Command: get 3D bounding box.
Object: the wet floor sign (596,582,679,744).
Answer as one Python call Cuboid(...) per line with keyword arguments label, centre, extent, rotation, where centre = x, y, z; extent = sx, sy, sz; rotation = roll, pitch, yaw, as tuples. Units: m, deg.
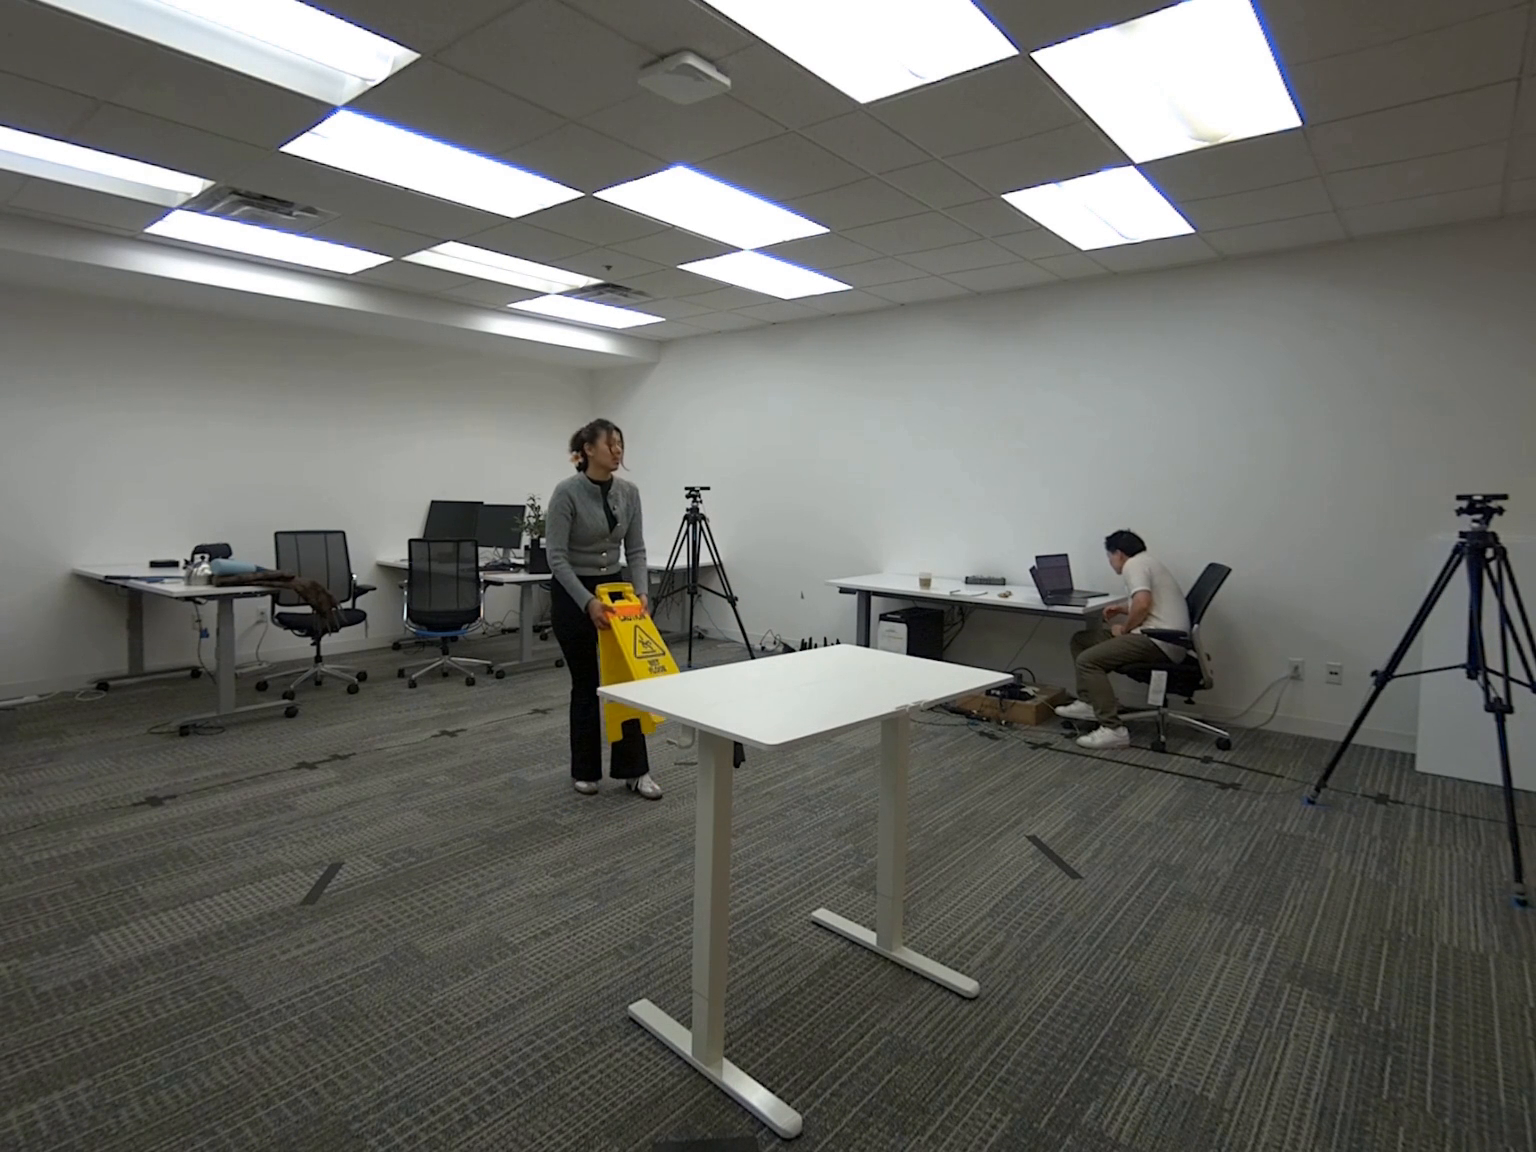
Cuboid(label="wet floor sign", centre=(-0.579, 0.335, 3.633), extent=(0.293, 0.658, 0.273), rotation=(-29, -18, 35))
